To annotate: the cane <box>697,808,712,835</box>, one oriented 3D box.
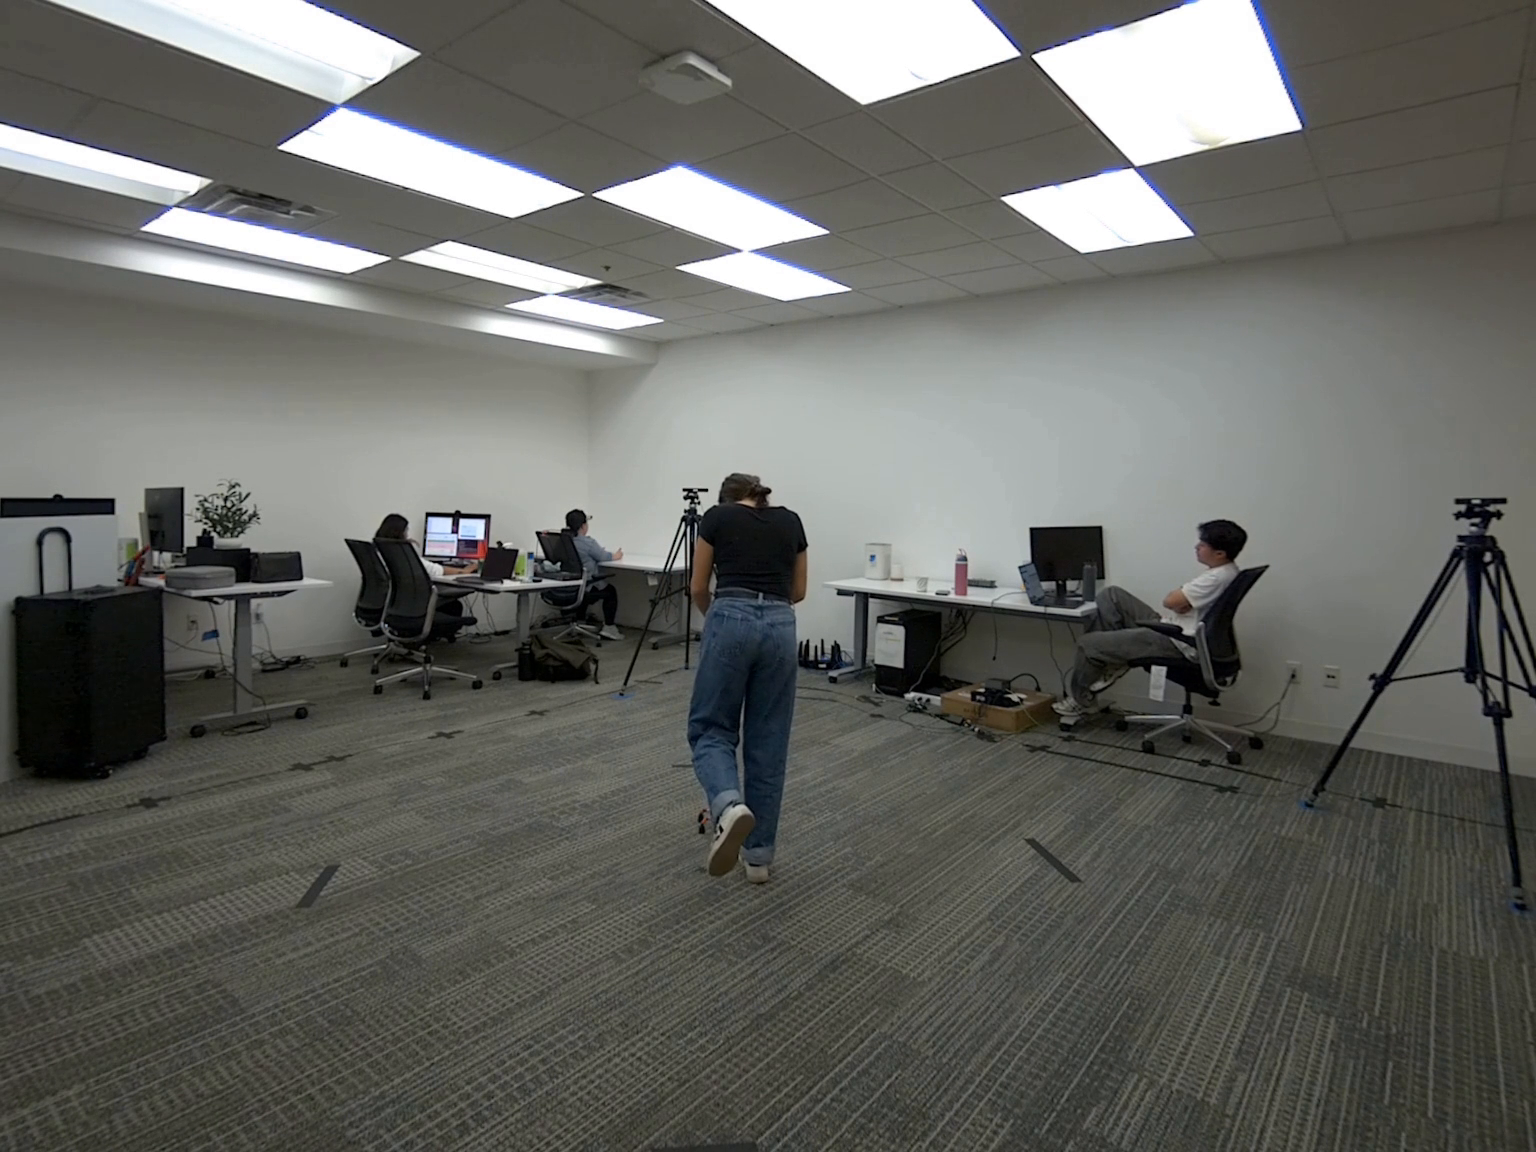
[{"bbox_3d":[-0.173,0.564,3.495,0.206,0.906,0.152,0,2,-4],"label":"cane"}]
